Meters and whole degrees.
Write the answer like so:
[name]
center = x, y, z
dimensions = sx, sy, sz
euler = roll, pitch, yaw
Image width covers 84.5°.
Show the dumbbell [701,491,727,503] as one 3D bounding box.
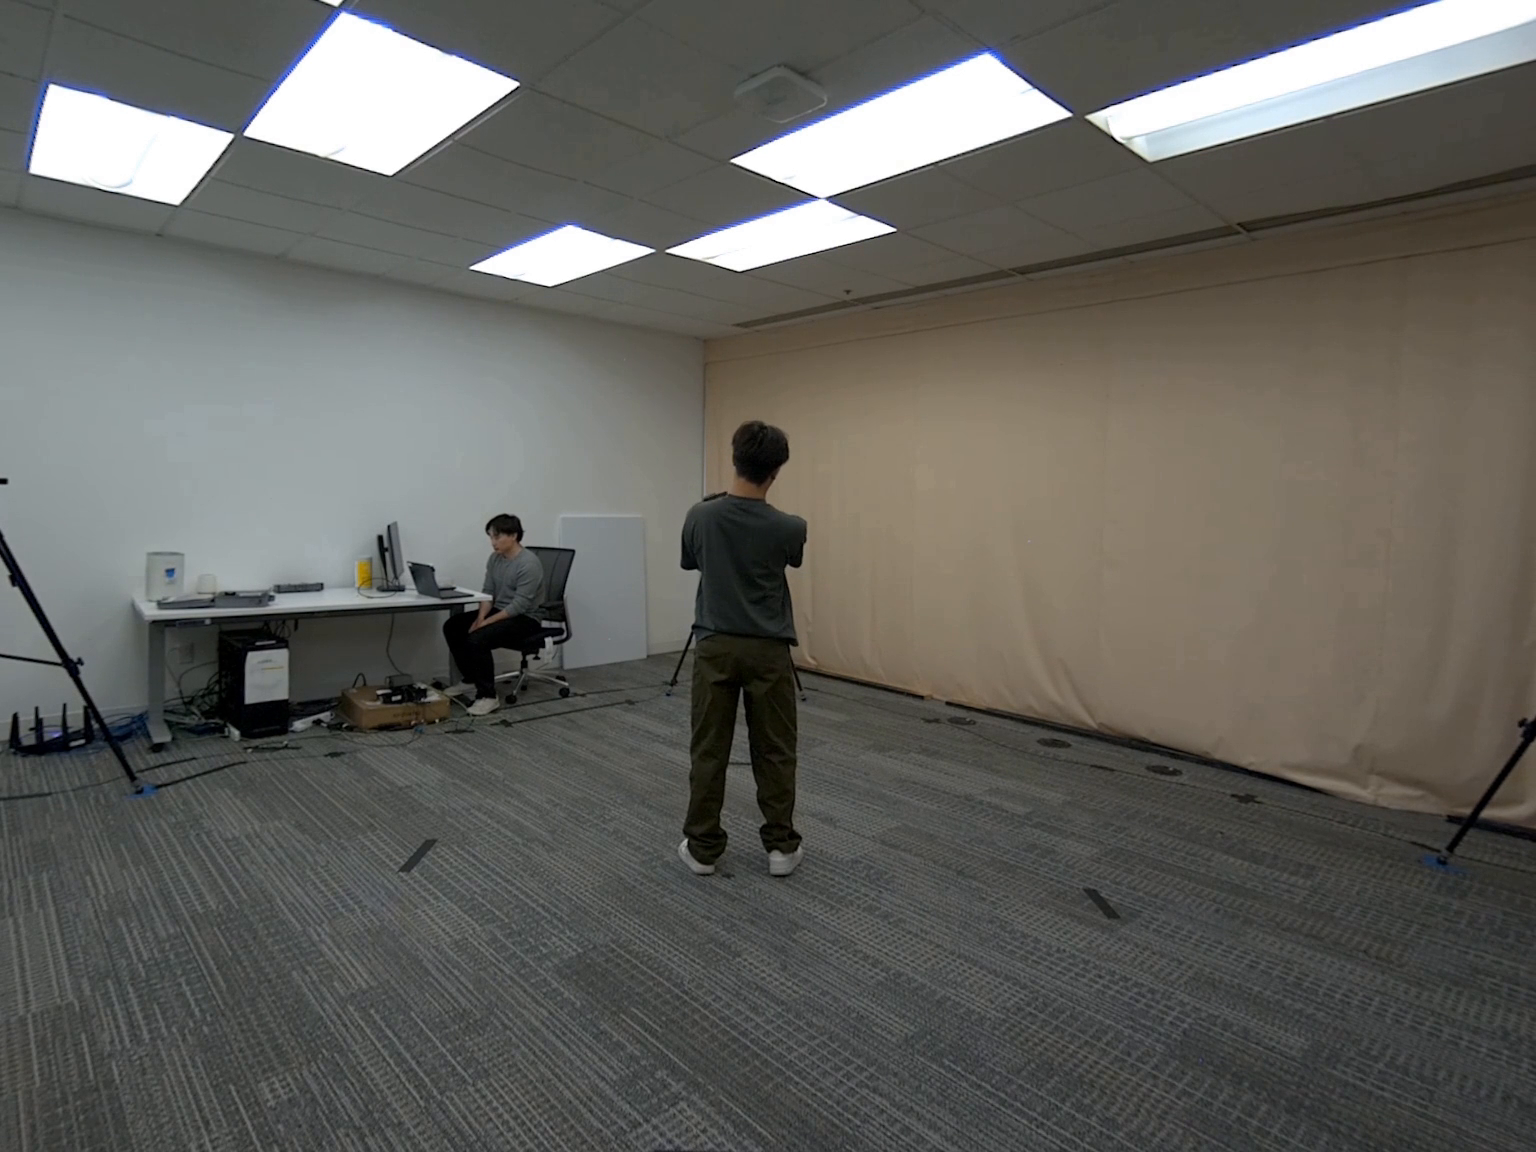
[dumbbell]
center = -0.184, -0.211, 3.580
dimensions = 0.124, 0.293, 0.108
euler = -20, 1, 20
